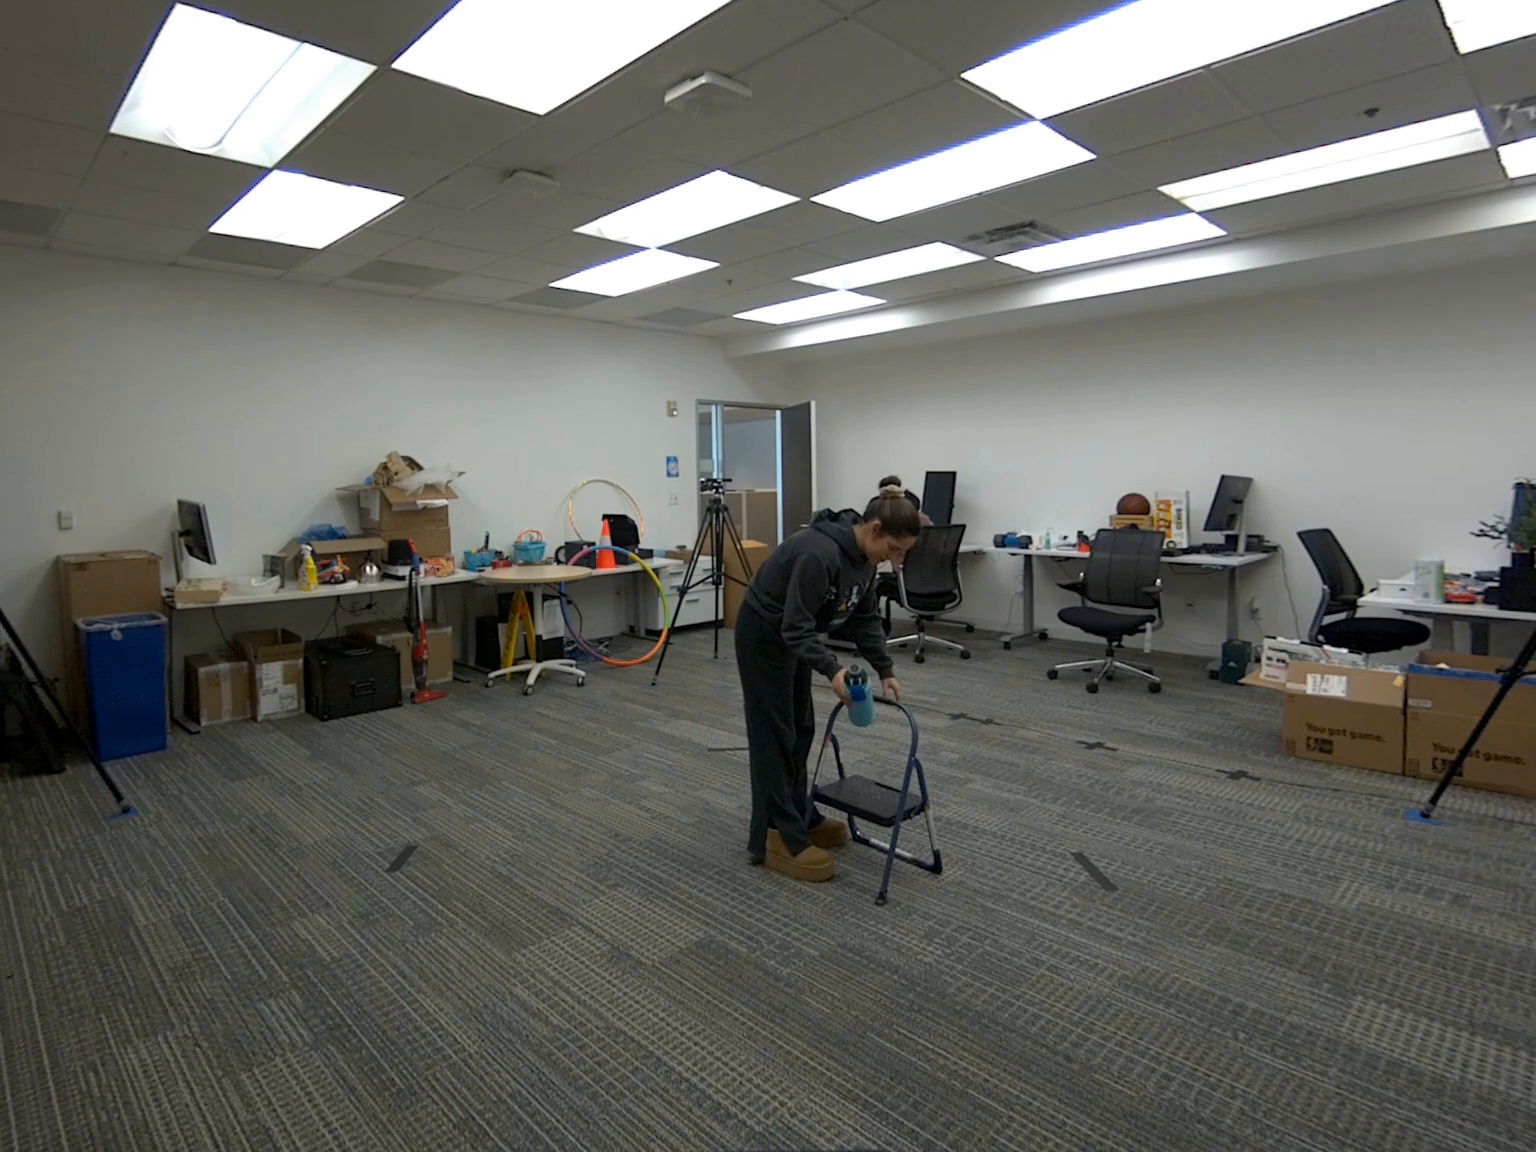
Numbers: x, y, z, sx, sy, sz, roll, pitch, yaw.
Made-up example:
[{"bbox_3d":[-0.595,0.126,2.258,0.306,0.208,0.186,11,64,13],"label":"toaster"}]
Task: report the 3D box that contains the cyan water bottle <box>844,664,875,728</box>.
[{"bbox_3d":[0.321,0.398,2.843,0.093,0.094,0.274,1,-37,12],"label":"cyan water bottle"}]
